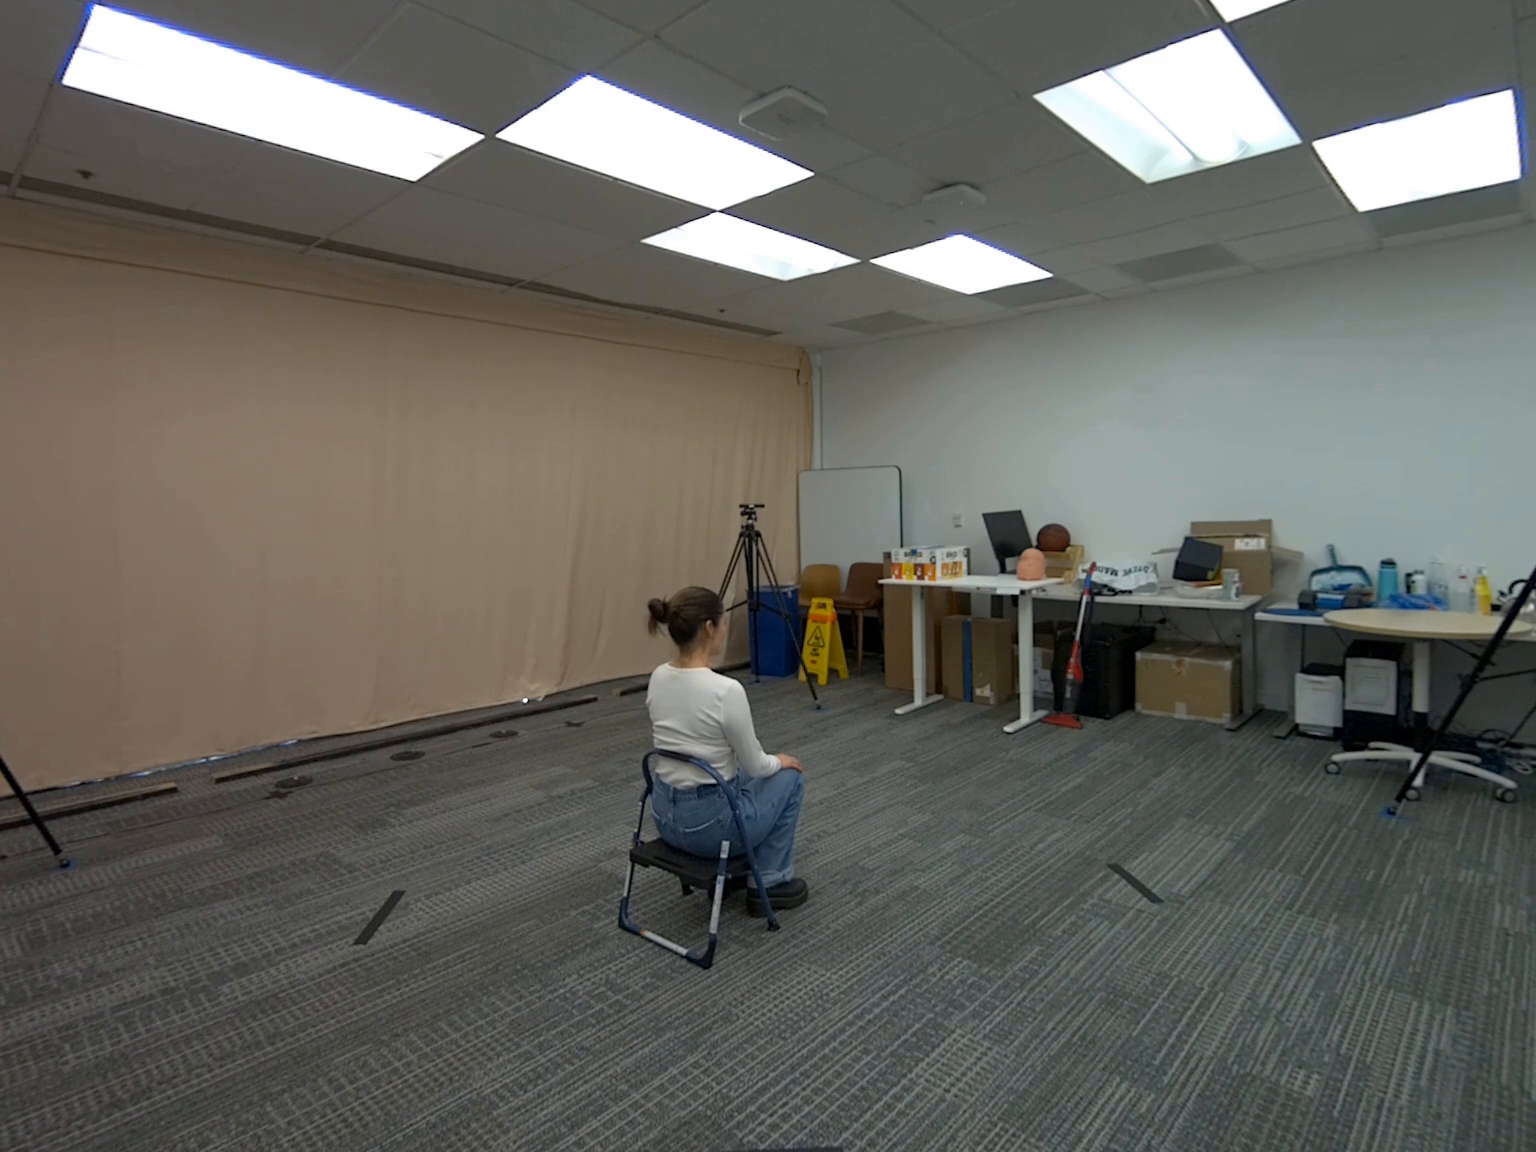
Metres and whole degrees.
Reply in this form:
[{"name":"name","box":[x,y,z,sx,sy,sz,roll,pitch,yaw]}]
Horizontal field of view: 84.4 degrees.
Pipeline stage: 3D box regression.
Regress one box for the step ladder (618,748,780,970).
[{"name":"step ladder","box":[-0.240,0.858,2.766,0.445,0.605,0.339,1,4,40]}]
